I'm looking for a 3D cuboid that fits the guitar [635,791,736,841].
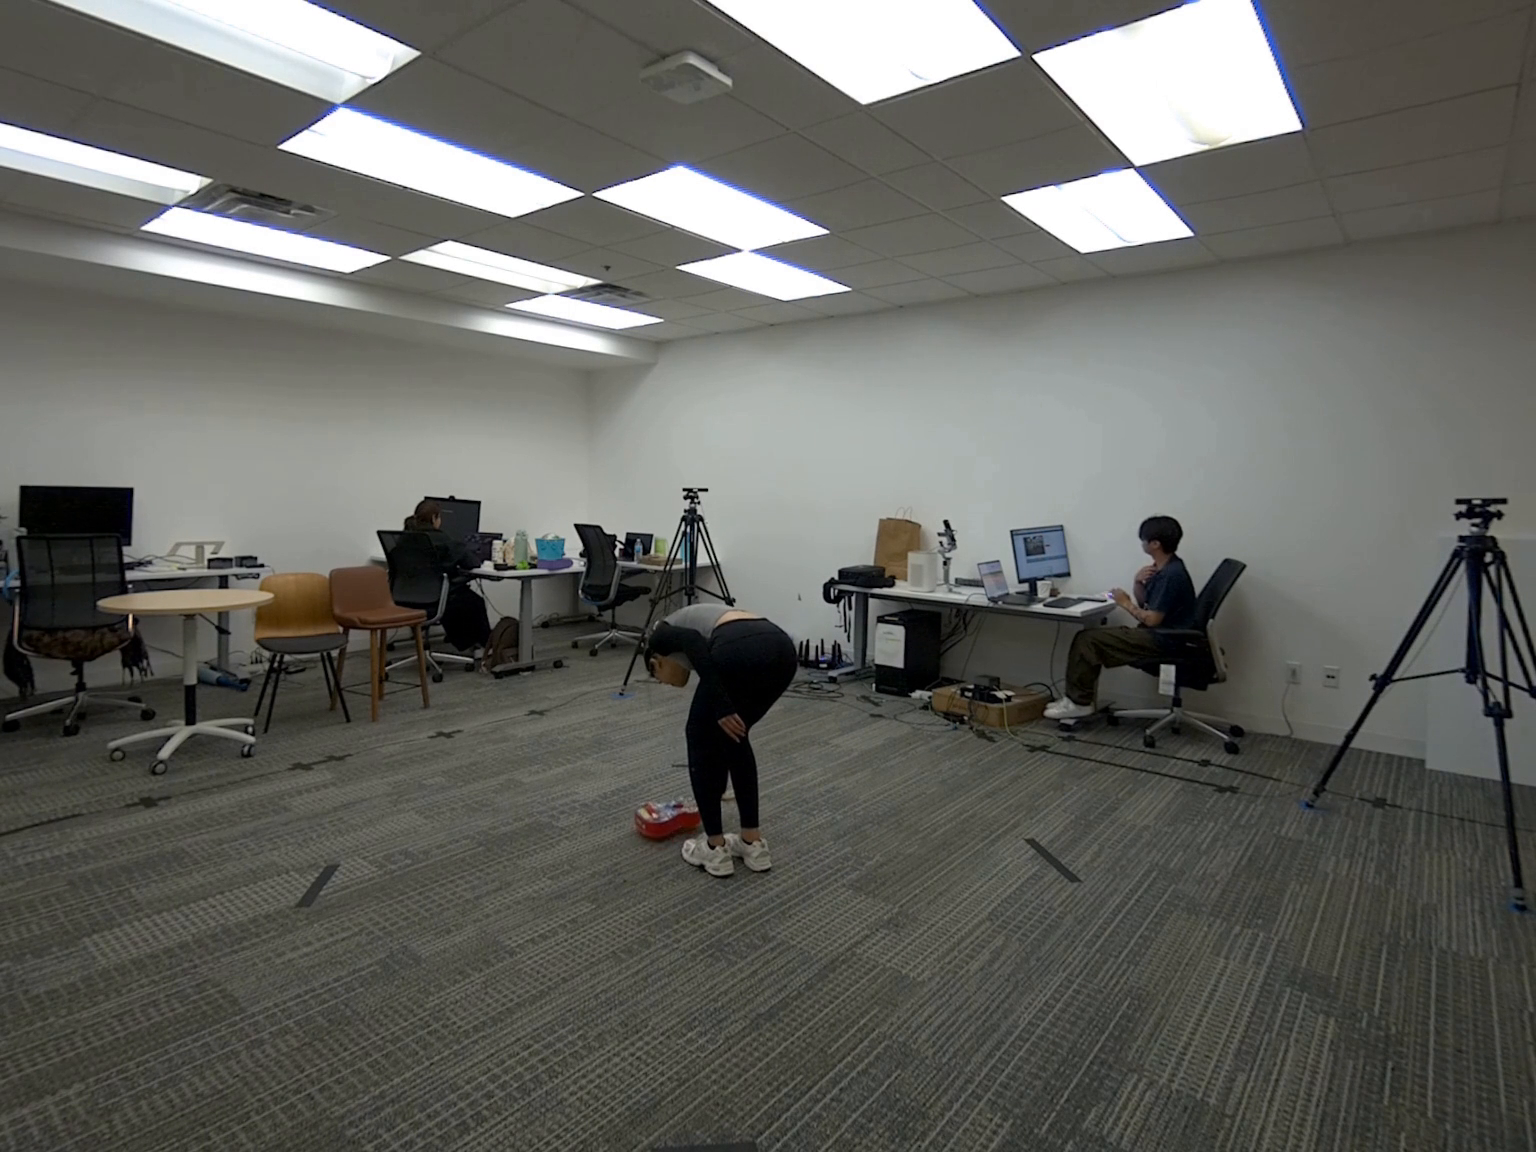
[{"bbox_3d":[-0.301,0.956,3.471,0.489,0.070,0.198,-4,9,-19],"label":"guitar"}]
